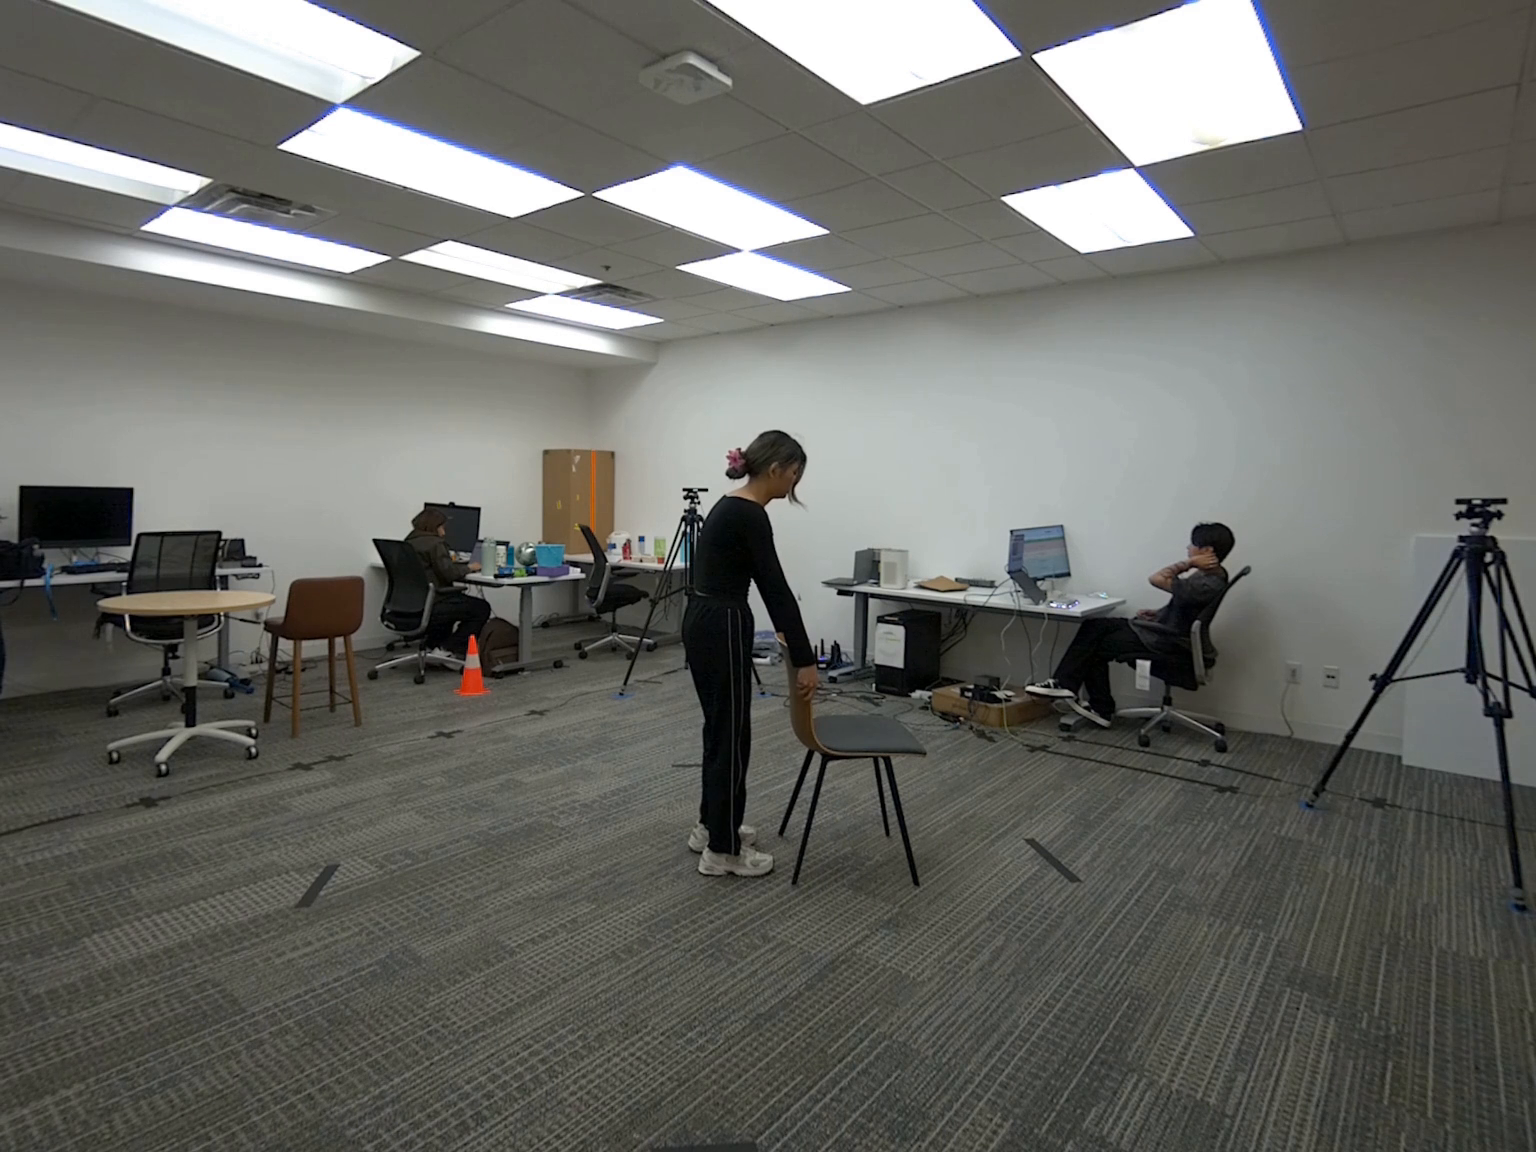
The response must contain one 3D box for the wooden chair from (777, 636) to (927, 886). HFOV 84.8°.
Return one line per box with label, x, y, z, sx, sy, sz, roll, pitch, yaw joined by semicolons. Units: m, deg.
wooden chair;0.304;0.648;3.201;0.522;0.875;0.481;-3;3;-4
